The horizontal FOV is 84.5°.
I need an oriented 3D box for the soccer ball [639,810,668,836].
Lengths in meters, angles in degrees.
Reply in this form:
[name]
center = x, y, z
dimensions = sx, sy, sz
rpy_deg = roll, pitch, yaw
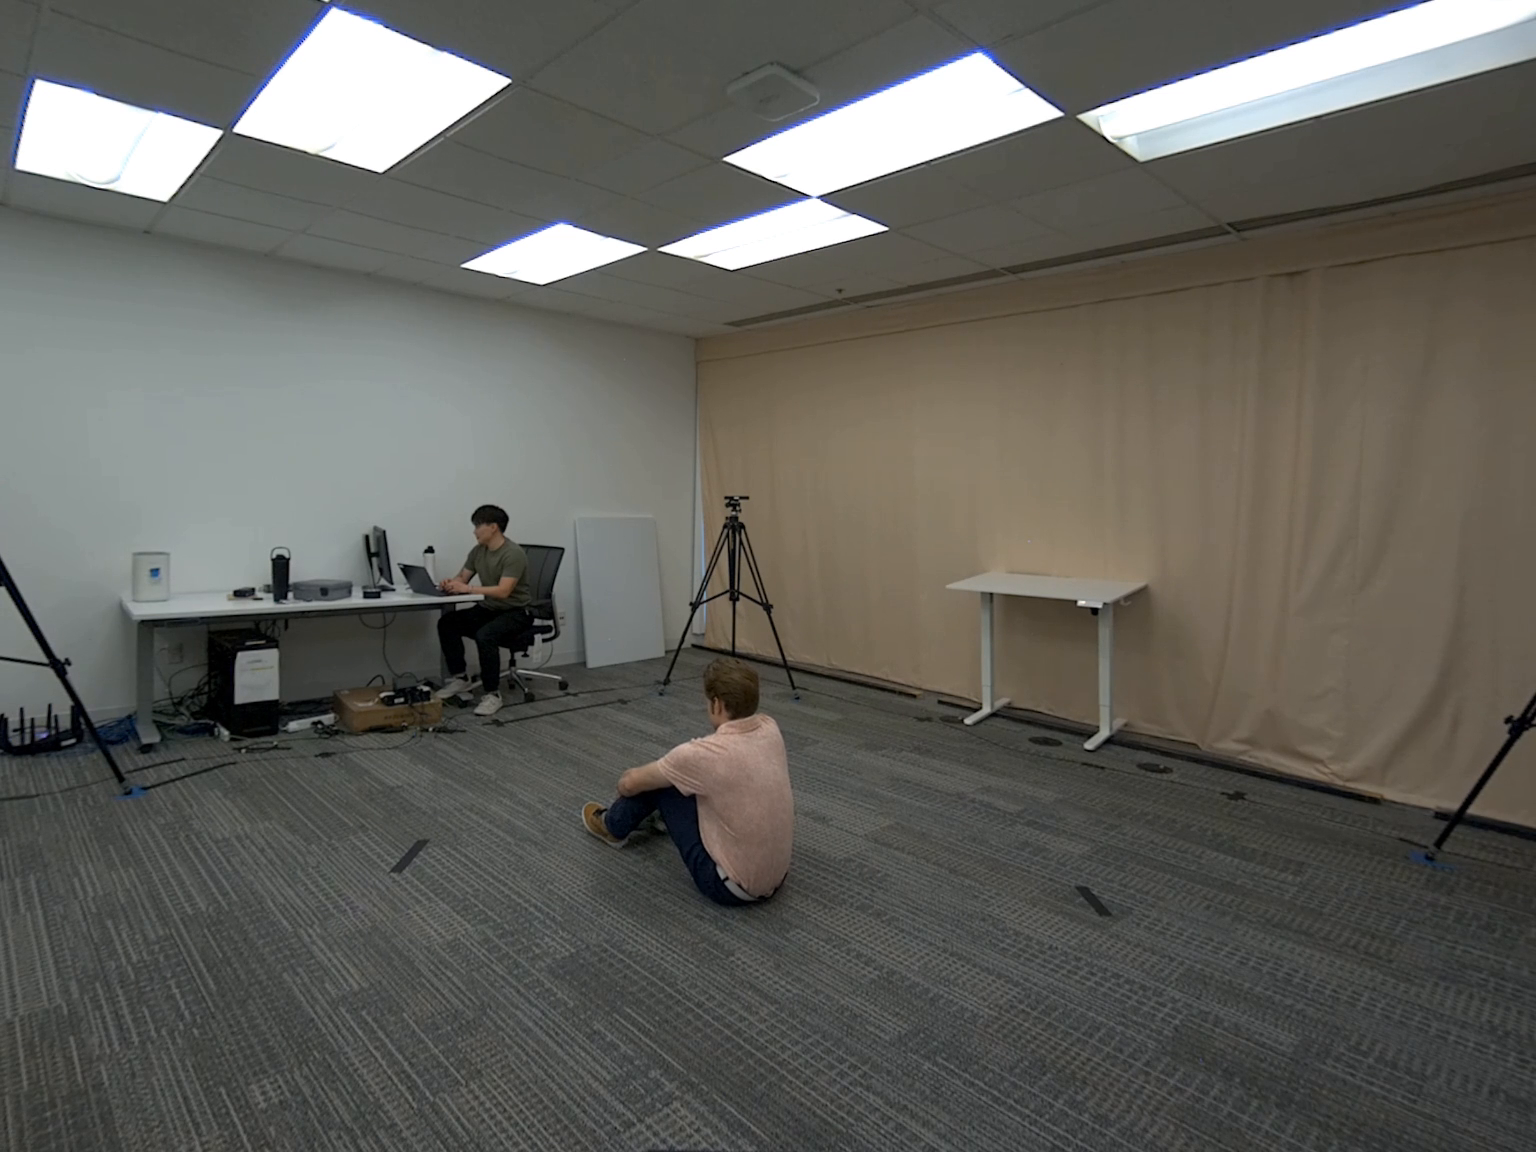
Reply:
[soccer ball]
center = -0.513, 0.939, 3.414
dimensions = 0.187, 0.187, 0.188
rpy_deg = 1, 4, -1
